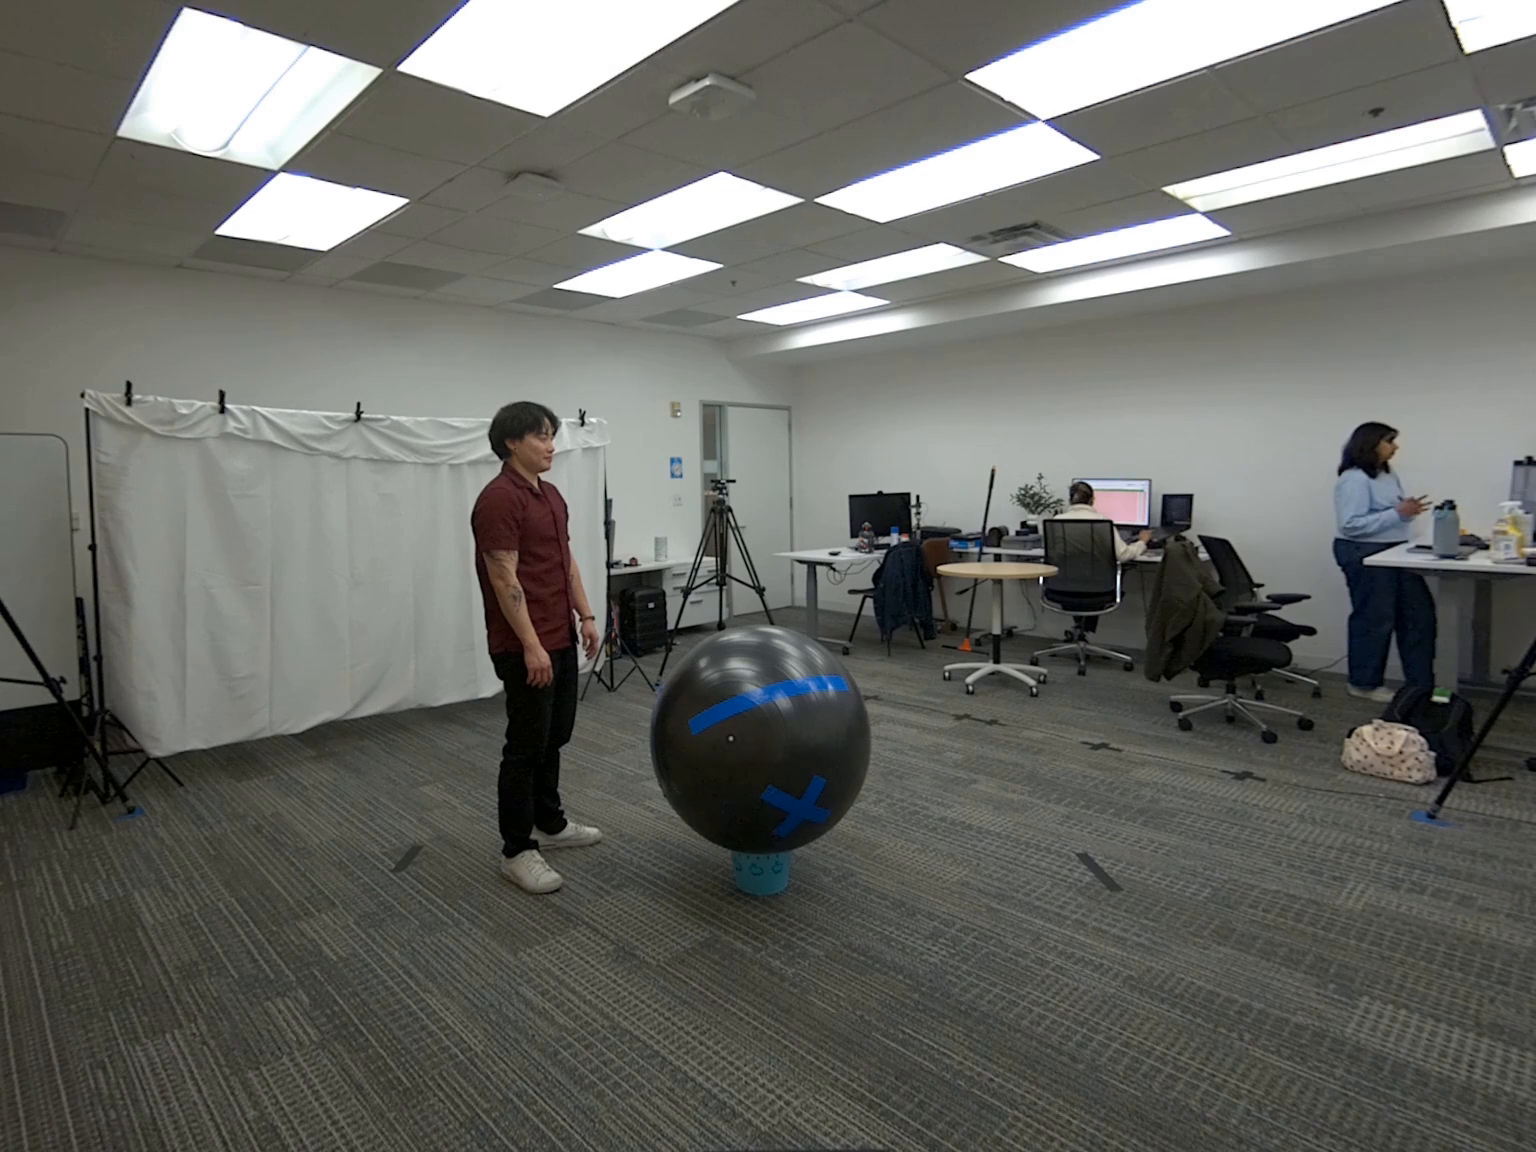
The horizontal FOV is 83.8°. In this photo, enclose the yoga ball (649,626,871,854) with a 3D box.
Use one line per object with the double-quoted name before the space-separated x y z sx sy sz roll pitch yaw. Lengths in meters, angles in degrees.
"yoga ball" -0.027 0.551 2.941 0.757 0.755 0.762 -1 5 -2
